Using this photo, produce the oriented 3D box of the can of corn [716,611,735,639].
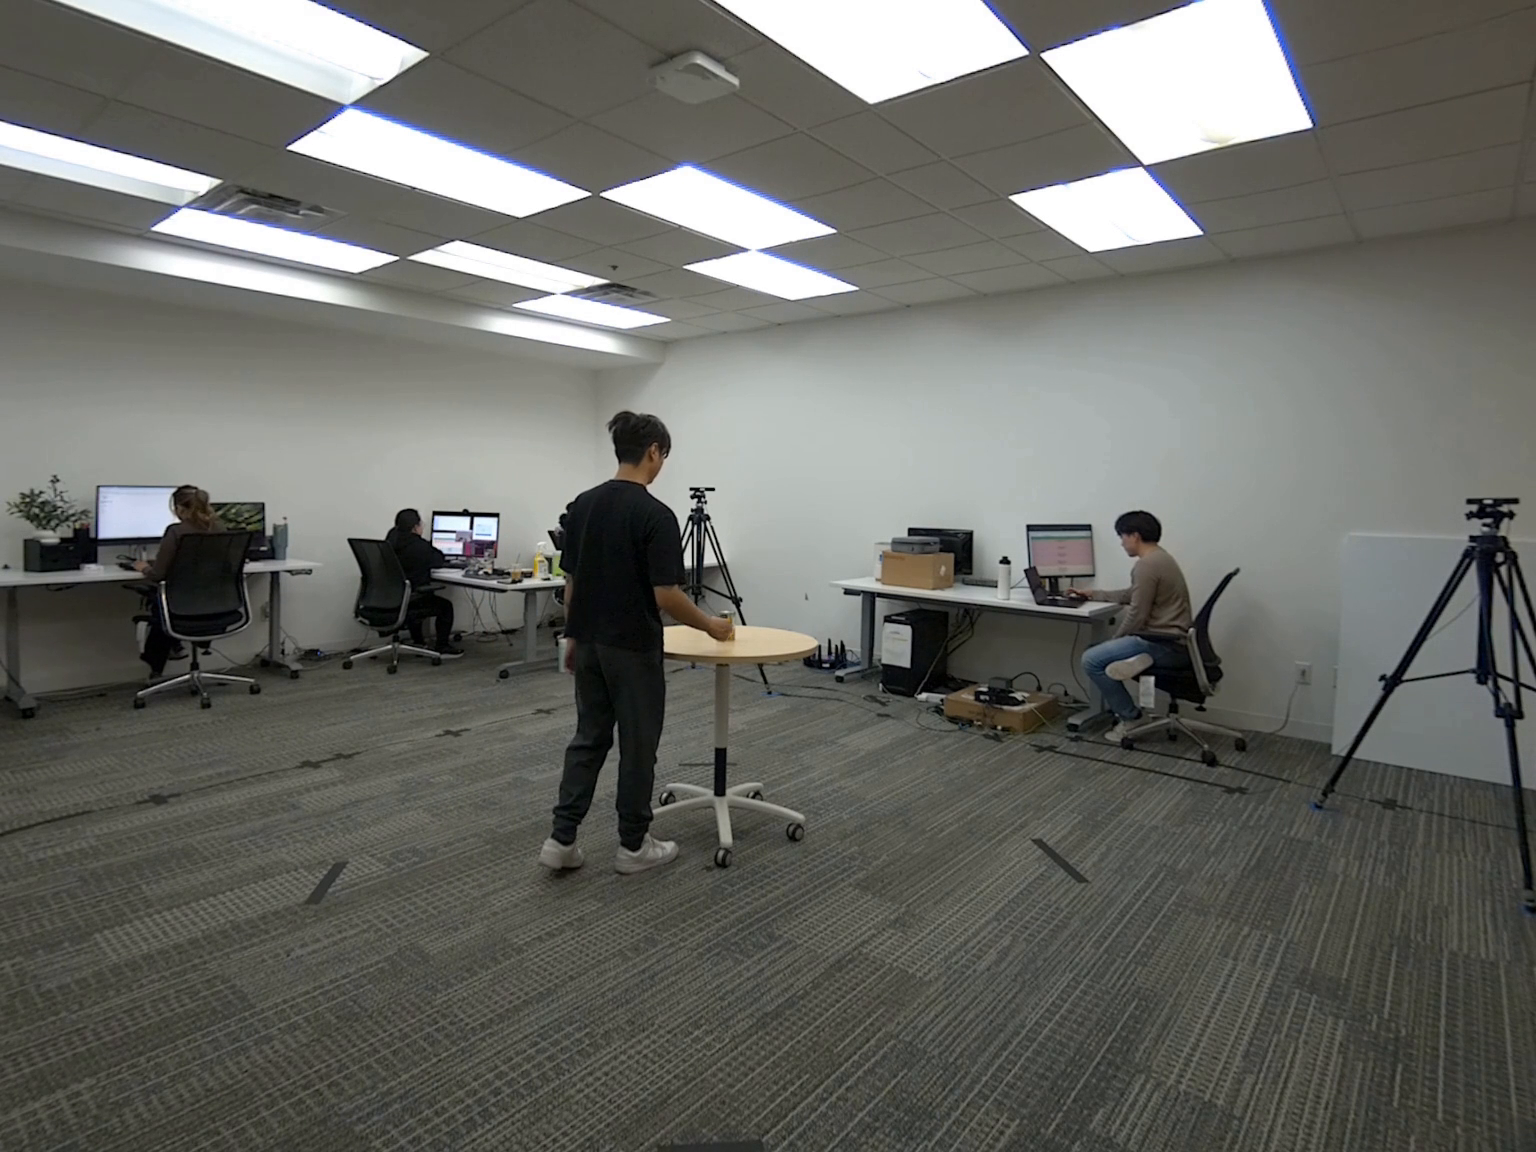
[{"bbox_3d":[-0.184,0.199,3.437,0.074,0.110,0.074,4,4,-2],"label":"can of corn"}]
